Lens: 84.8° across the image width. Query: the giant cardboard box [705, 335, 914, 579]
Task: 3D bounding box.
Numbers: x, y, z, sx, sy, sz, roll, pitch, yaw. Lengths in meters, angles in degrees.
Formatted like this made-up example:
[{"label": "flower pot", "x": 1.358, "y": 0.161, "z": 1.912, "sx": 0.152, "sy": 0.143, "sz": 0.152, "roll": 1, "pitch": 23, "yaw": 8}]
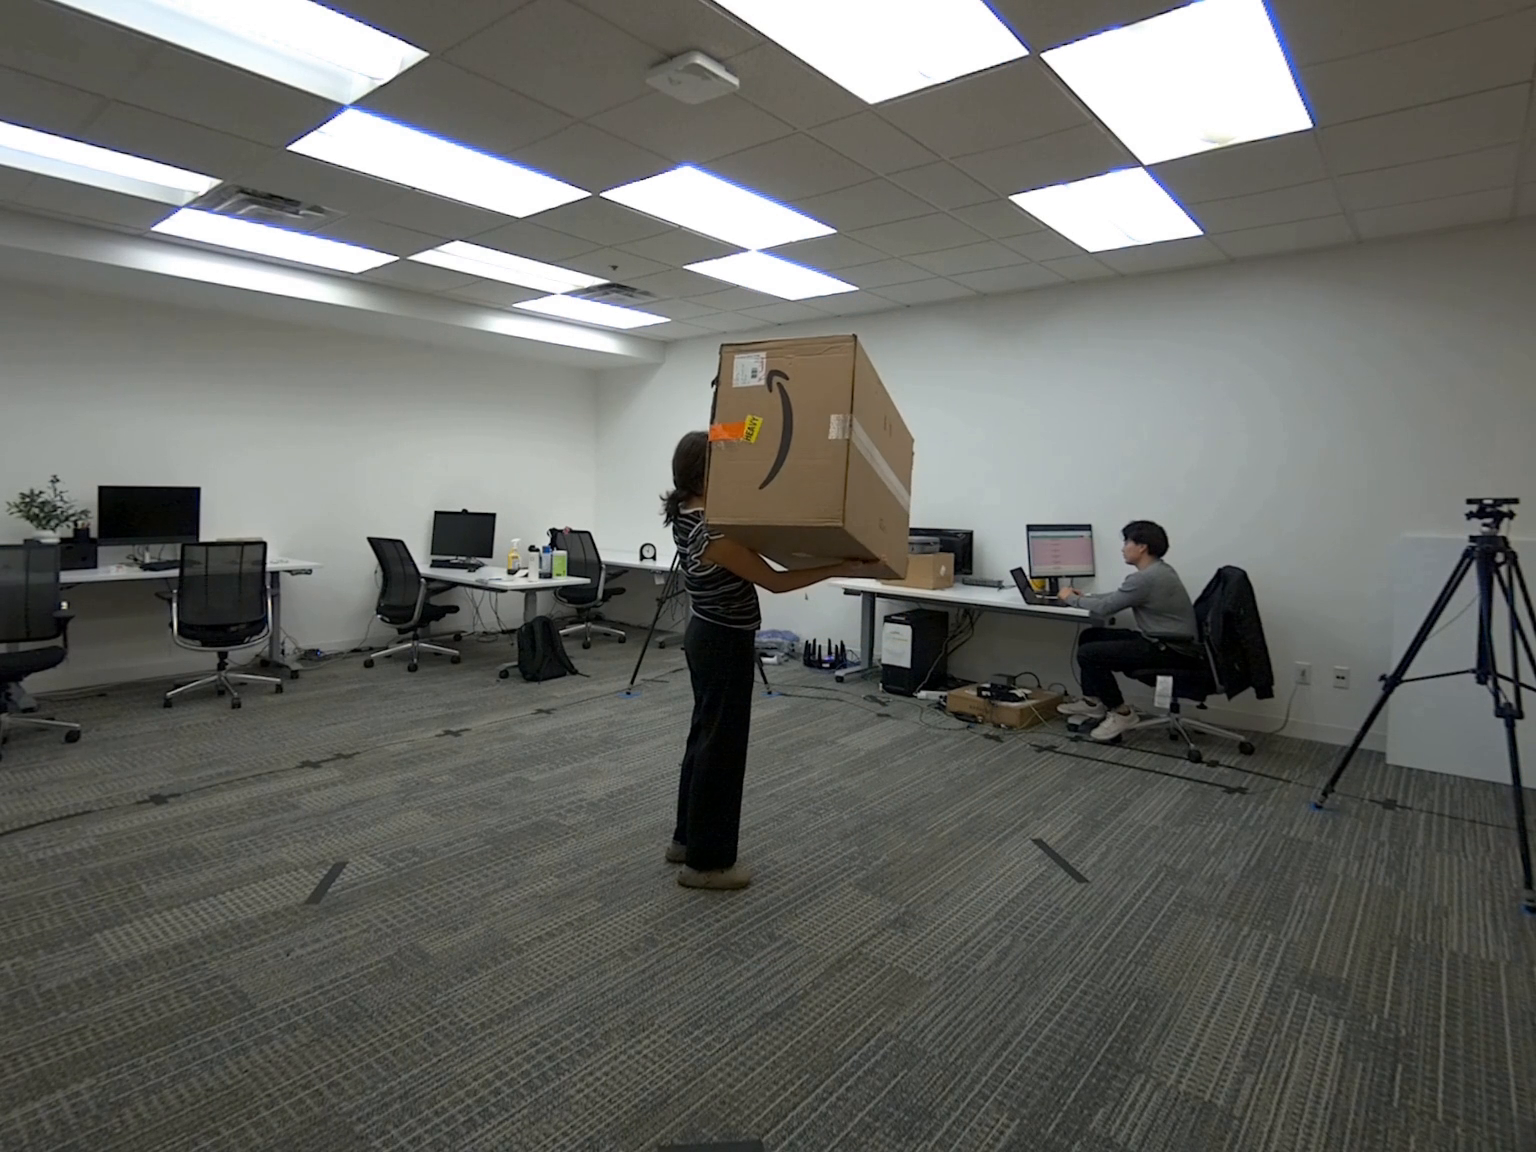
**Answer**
[{"label": "giant cardboard box", "x": 0.181, "y": -0.350, "z": 2.931, "sx": 0.436, "sy": 0.582, "sz": 0.995, "roll": 2, "pitch": -9, "yaw": 20}]
